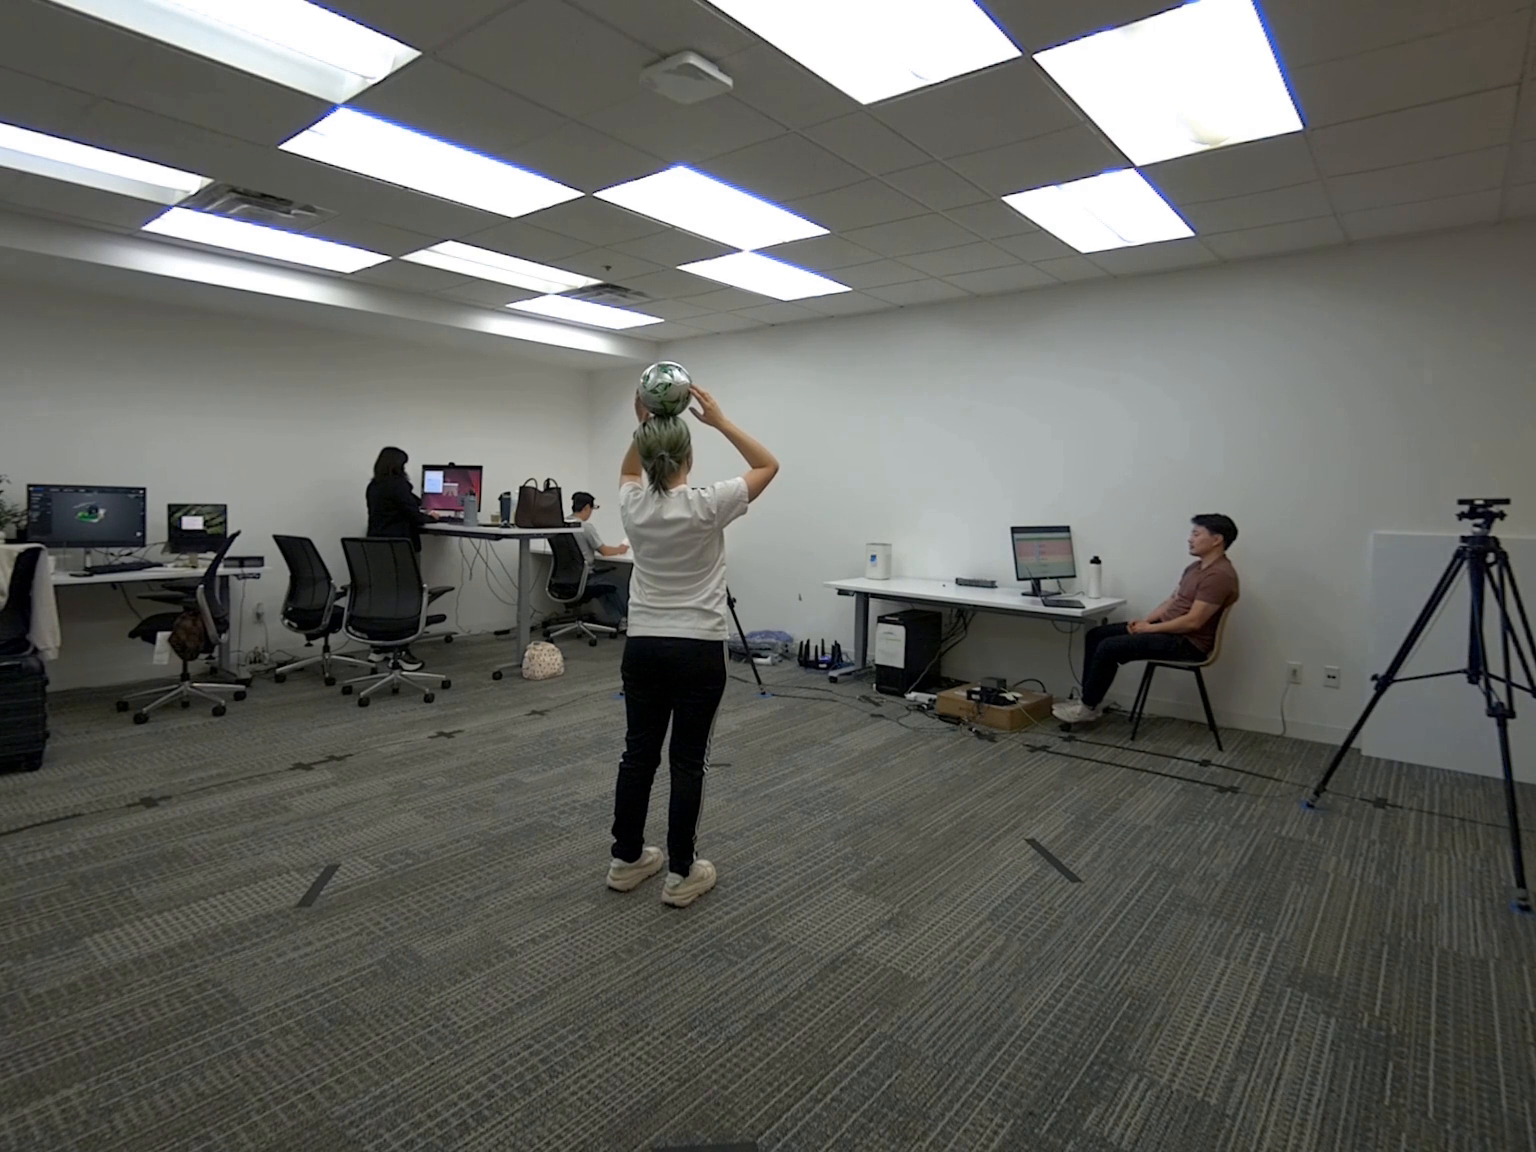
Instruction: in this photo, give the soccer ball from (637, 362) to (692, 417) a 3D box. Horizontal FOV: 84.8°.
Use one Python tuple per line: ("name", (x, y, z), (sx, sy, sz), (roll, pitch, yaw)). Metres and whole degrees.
("soccer ball", (-0.356, -0.637, 2.893), (0.187, 0.187, 0.188), (1, 4, -2))
